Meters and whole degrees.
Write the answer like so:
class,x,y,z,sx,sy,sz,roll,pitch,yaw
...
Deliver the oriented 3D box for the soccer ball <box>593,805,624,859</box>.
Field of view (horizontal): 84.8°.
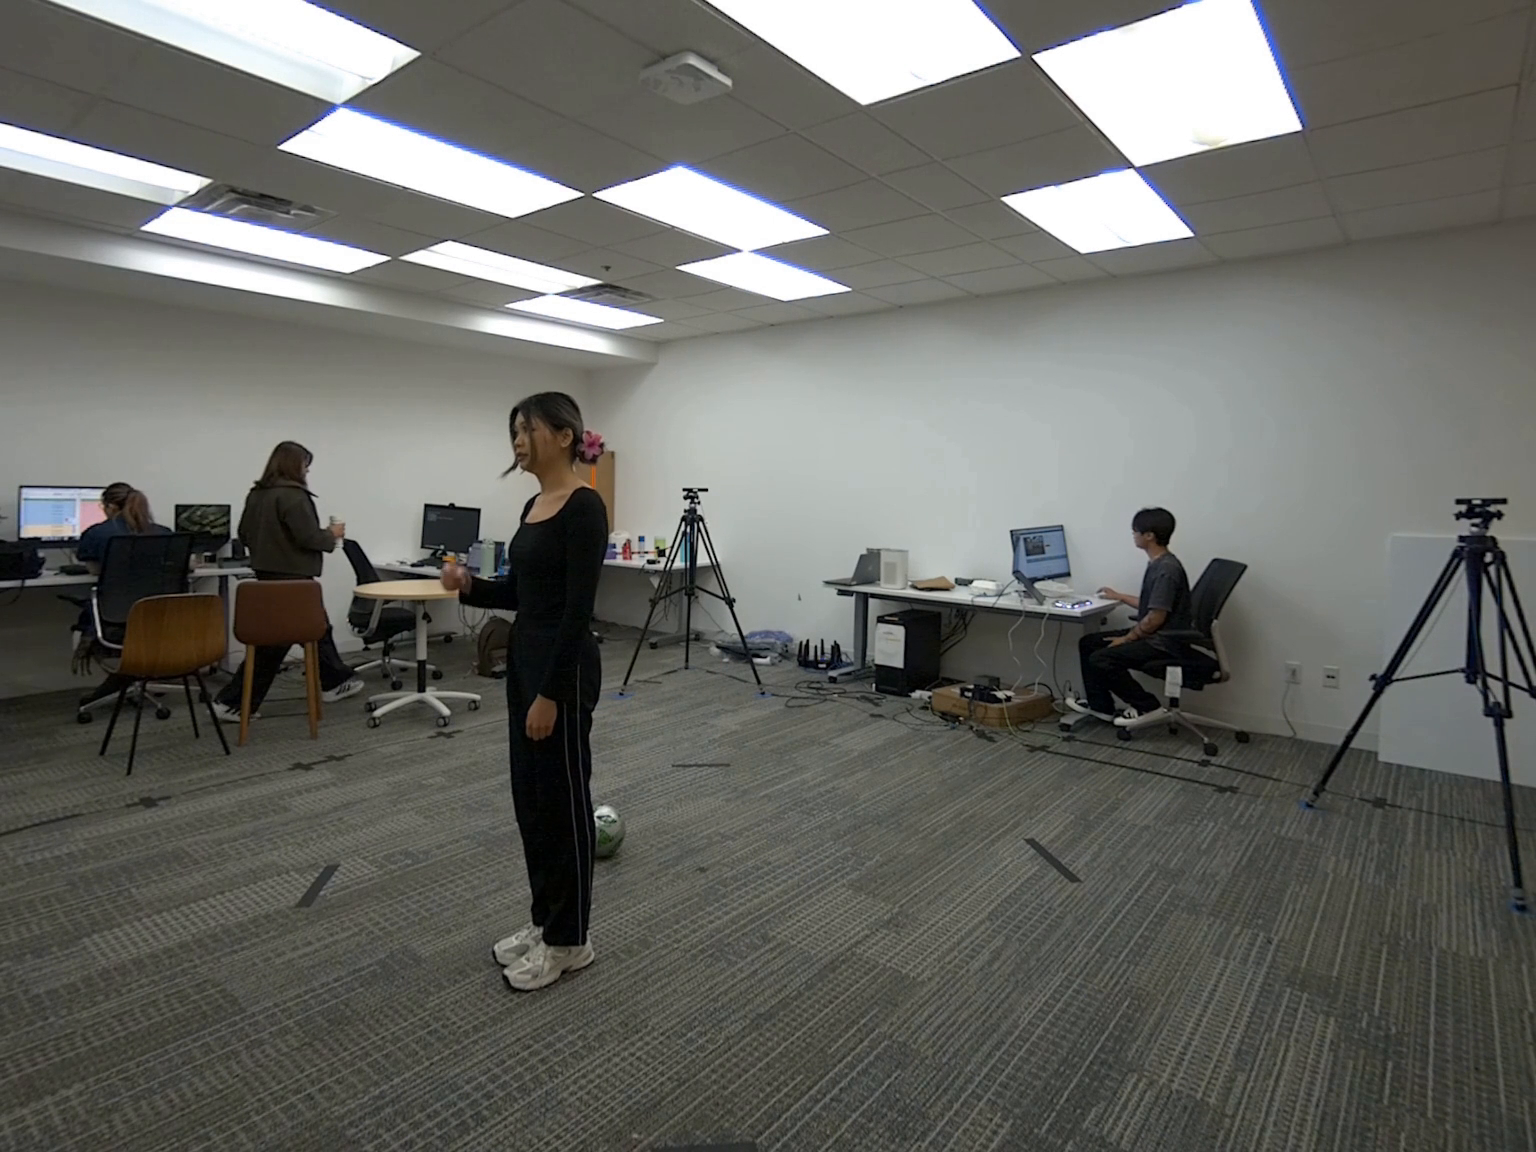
class,x,y,z,sx,sy,sz,roll,pitch,yaw
soccer ball,-0.643,0.958,3.211,0.187,0.187,0.188,1,4,-2
